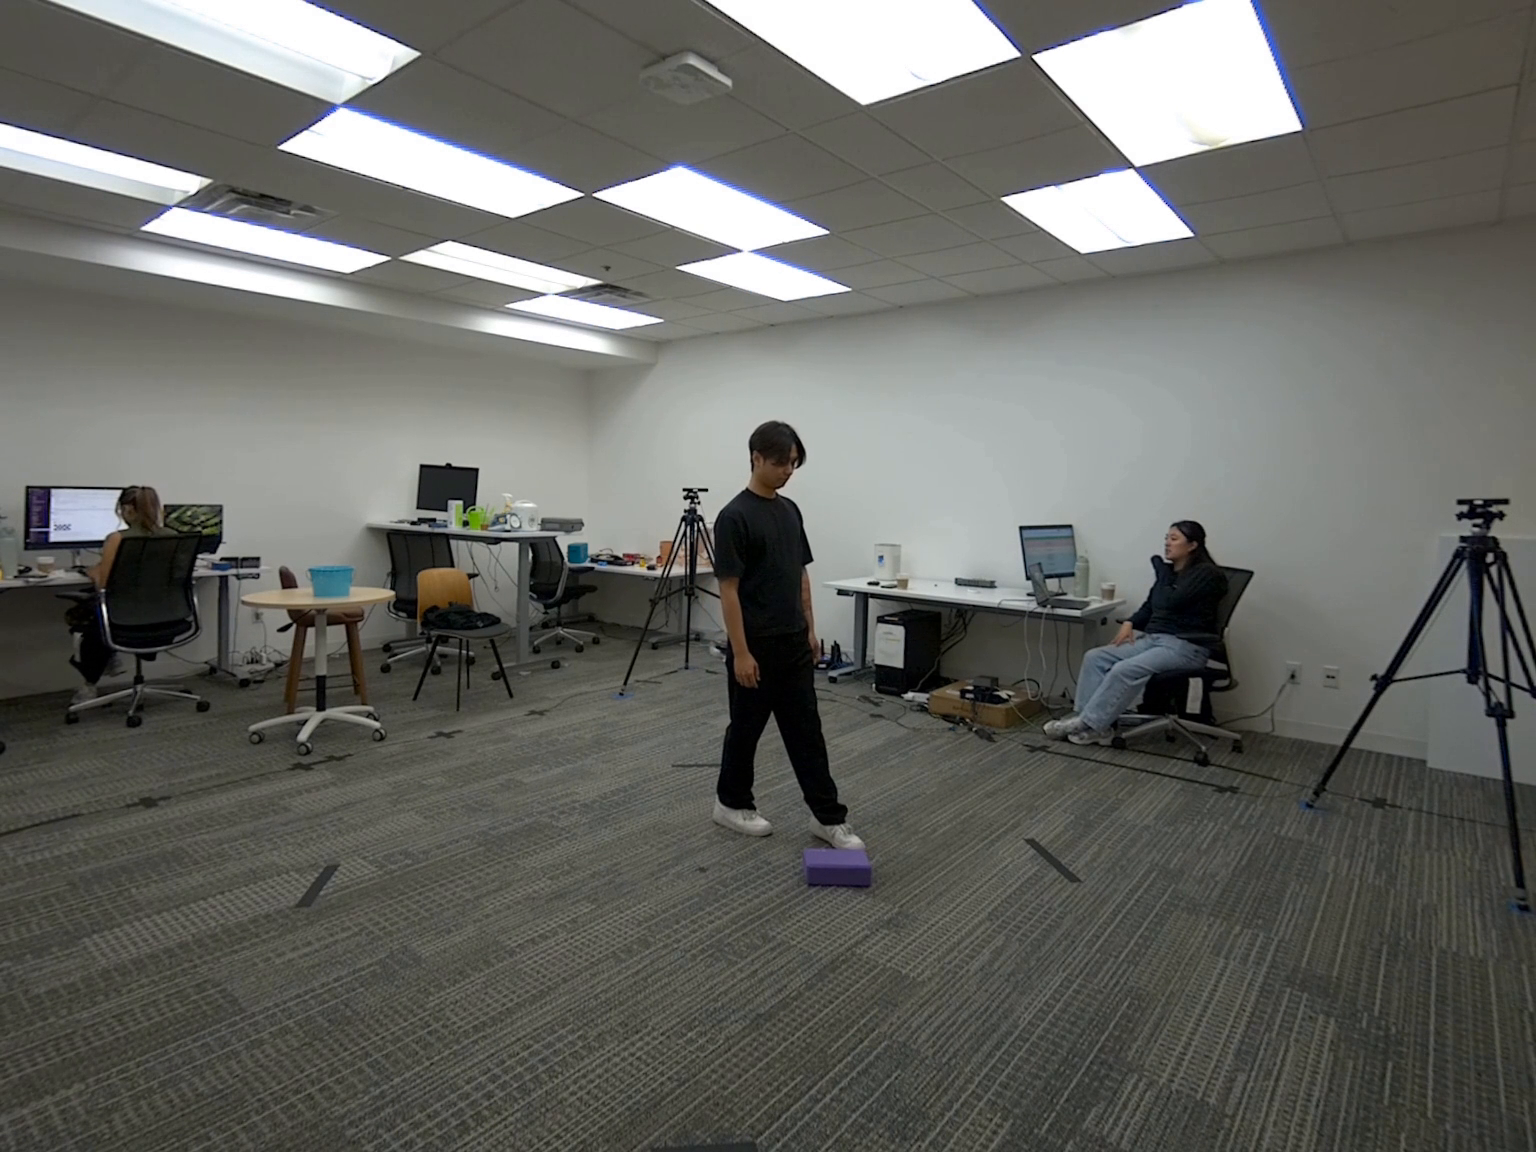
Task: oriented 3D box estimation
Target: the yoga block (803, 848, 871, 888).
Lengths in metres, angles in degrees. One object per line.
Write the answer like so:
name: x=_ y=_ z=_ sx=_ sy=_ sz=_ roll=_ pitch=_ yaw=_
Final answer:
yoga block: x=0.242 y=1.041 z=3.067 sx=0.229 sy=0.076 sz=0.150 roll=-1 pitch=5 yaw=-2
